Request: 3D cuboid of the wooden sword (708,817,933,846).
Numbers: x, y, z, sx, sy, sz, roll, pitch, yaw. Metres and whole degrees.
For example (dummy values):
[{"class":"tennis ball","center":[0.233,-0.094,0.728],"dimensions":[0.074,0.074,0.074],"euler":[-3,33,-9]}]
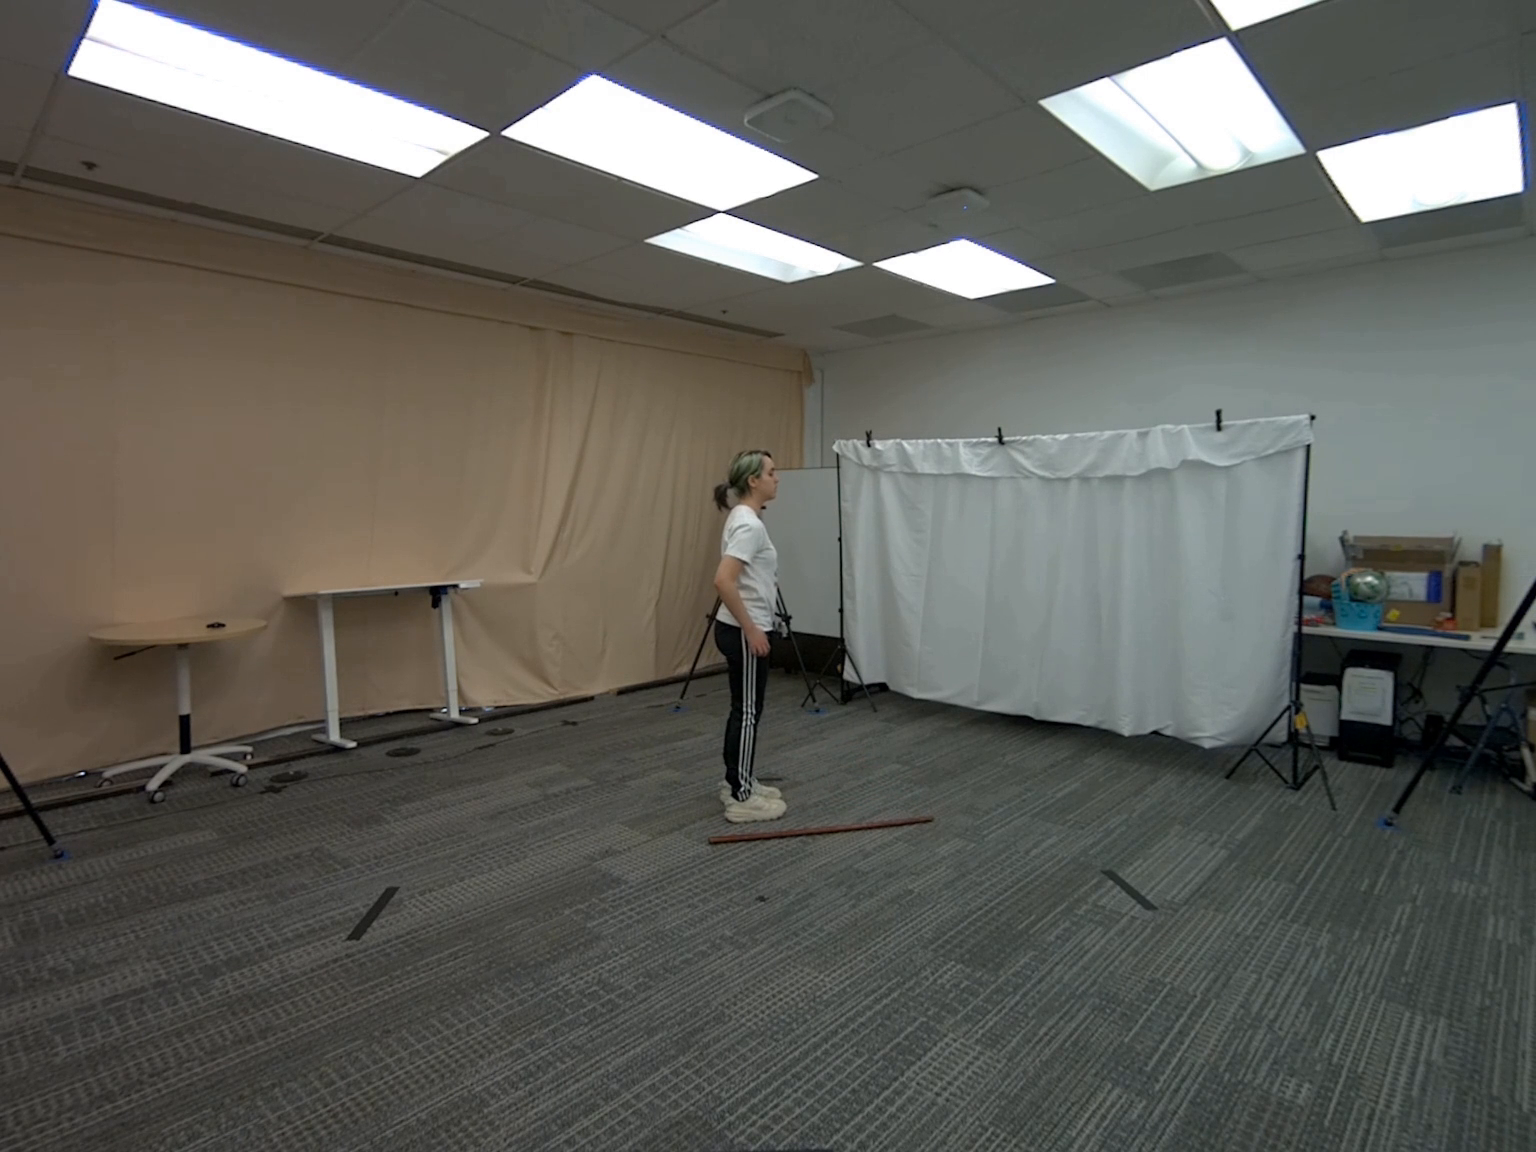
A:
[{"class":"wooden sword","center":[0.243,1.071,3.586],"dimensions":[1.009,0.024,0.052],"euler":[-1,-3,-14]}]
